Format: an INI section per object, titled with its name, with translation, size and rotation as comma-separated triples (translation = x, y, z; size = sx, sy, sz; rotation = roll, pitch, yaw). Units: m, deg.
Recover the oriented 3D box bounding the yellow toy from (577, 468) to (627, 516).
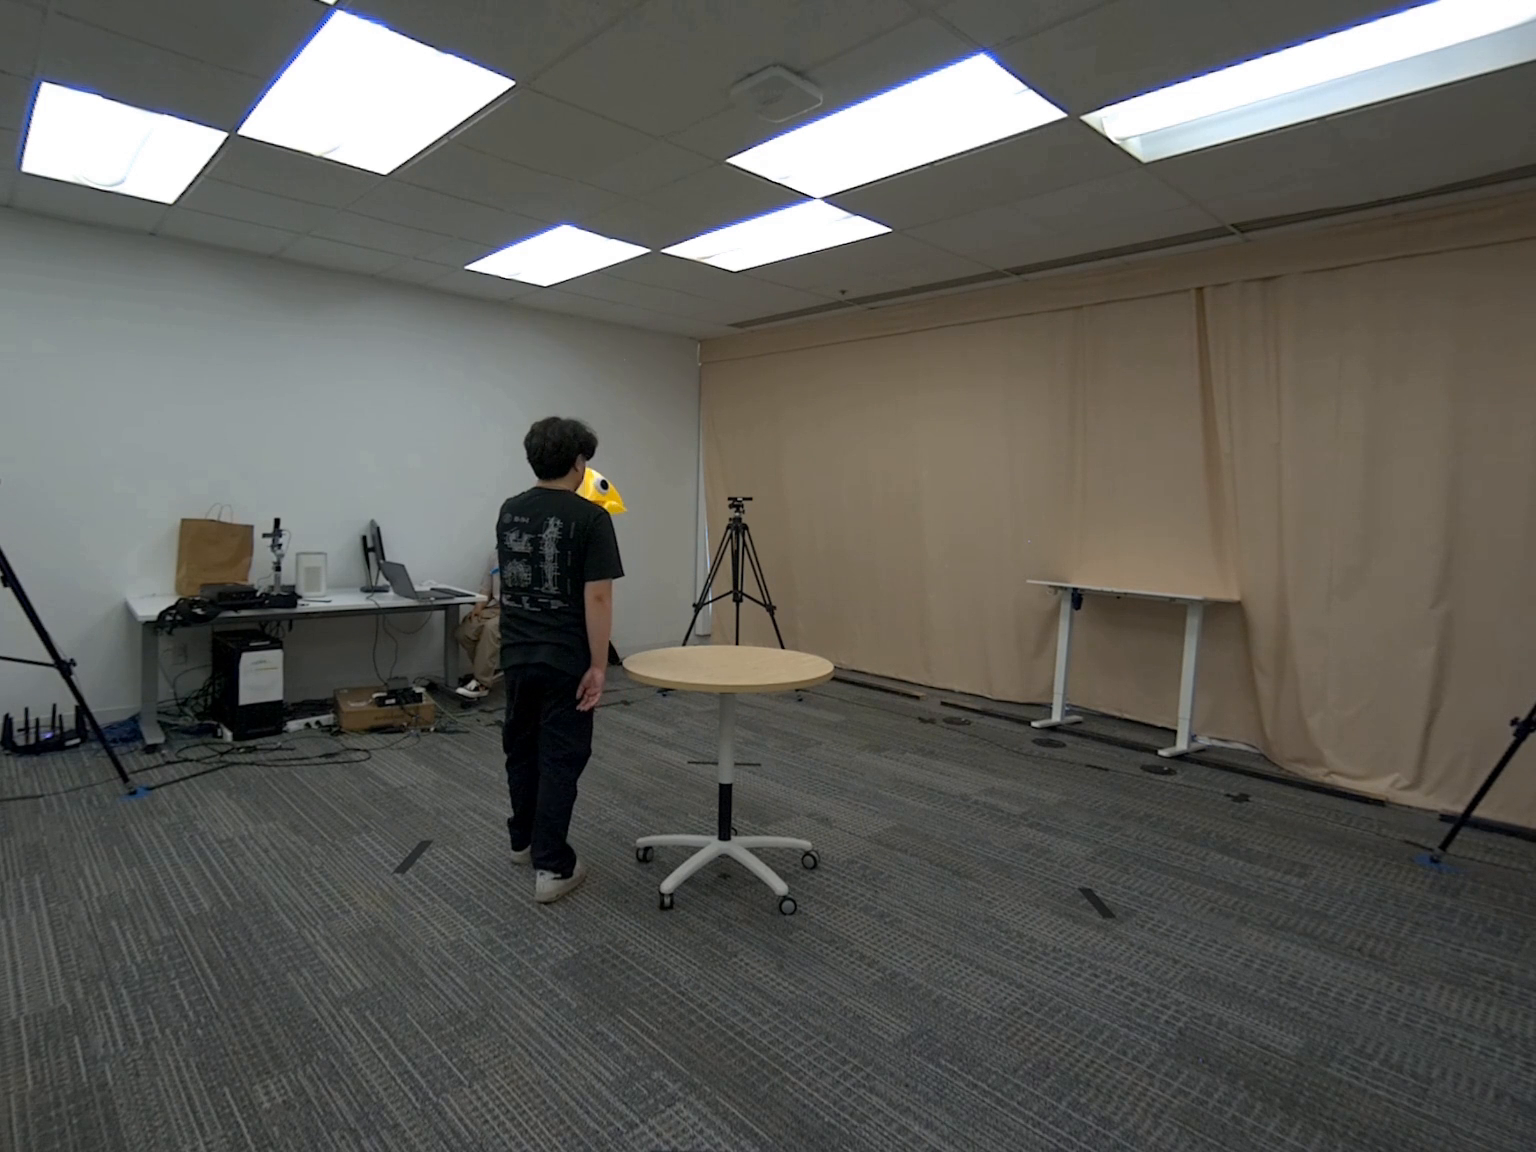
[yellow toy]
translation = -0.749, -0.379, 3.641
size = 0.190, 0.229, 0.209
rotation = -14, 8, -23
